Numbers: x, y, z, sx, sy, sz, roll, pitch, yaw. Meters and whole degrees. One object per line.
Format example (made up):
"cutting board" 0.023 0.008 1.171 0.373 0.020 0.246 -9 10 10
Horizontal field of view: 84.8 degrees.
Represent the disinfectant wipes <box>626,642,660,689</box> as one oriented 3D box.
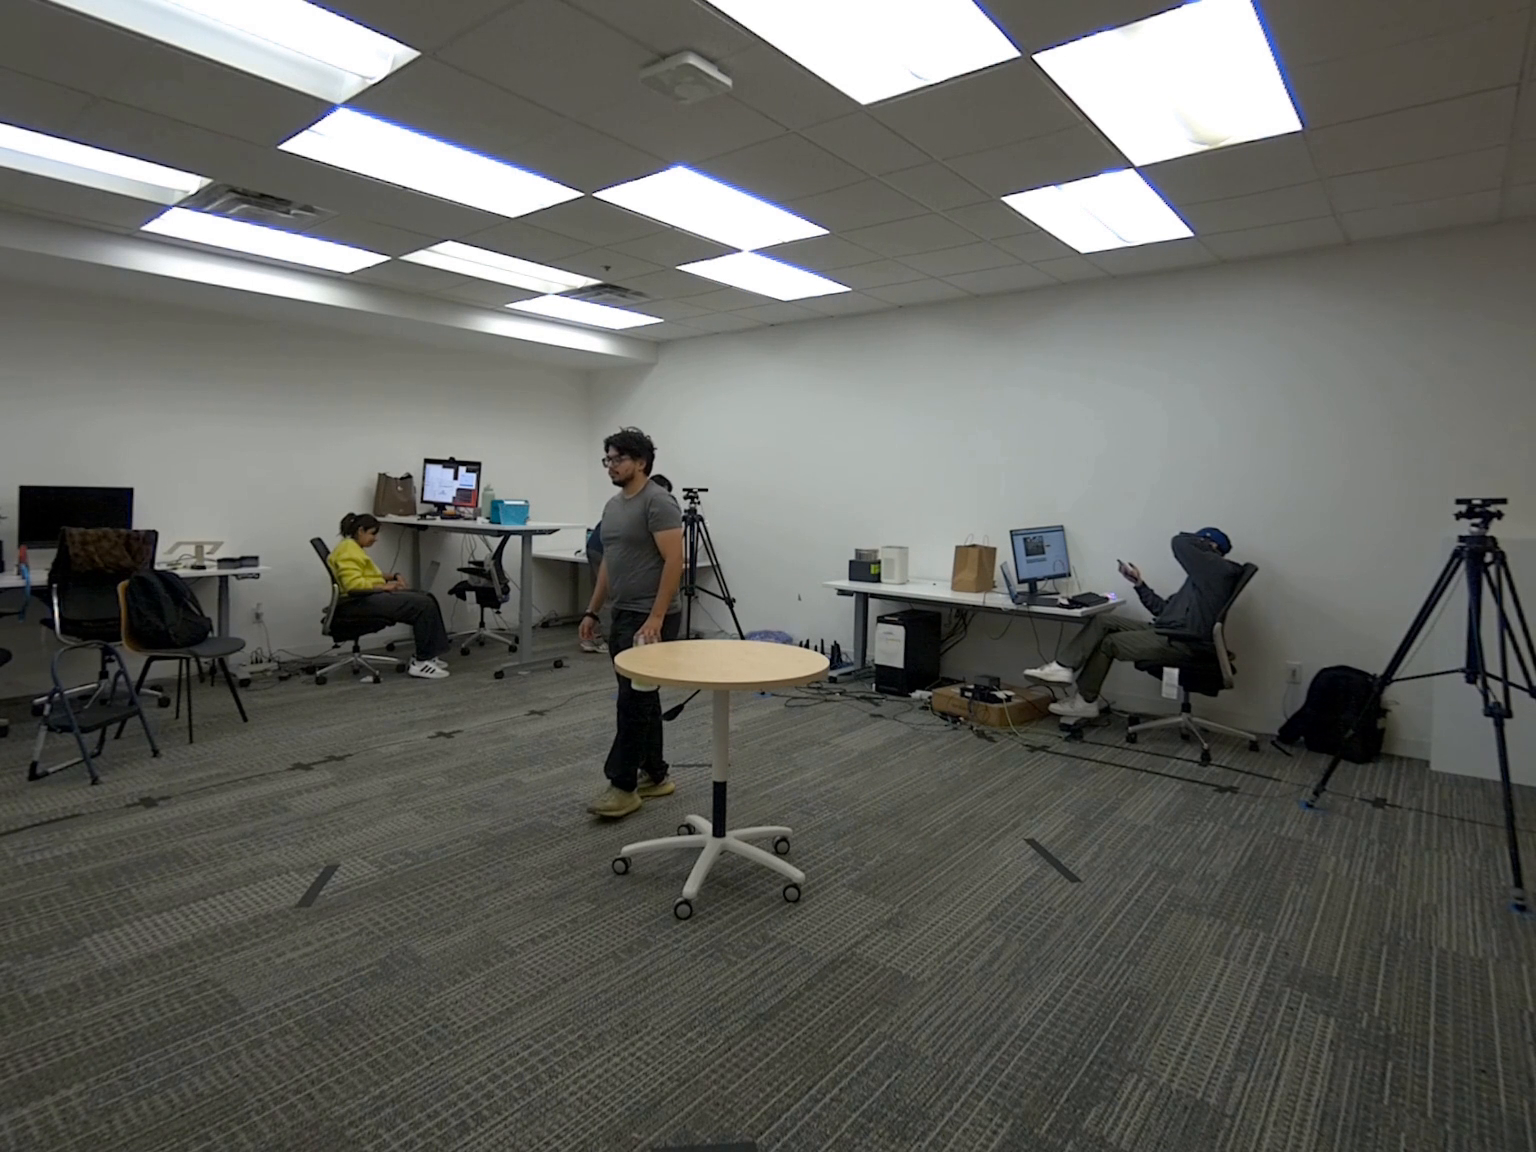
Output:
"disinfectant wipes" -0.520 0.348 3.484 0.117 0.216 0.119 6 7 -3
